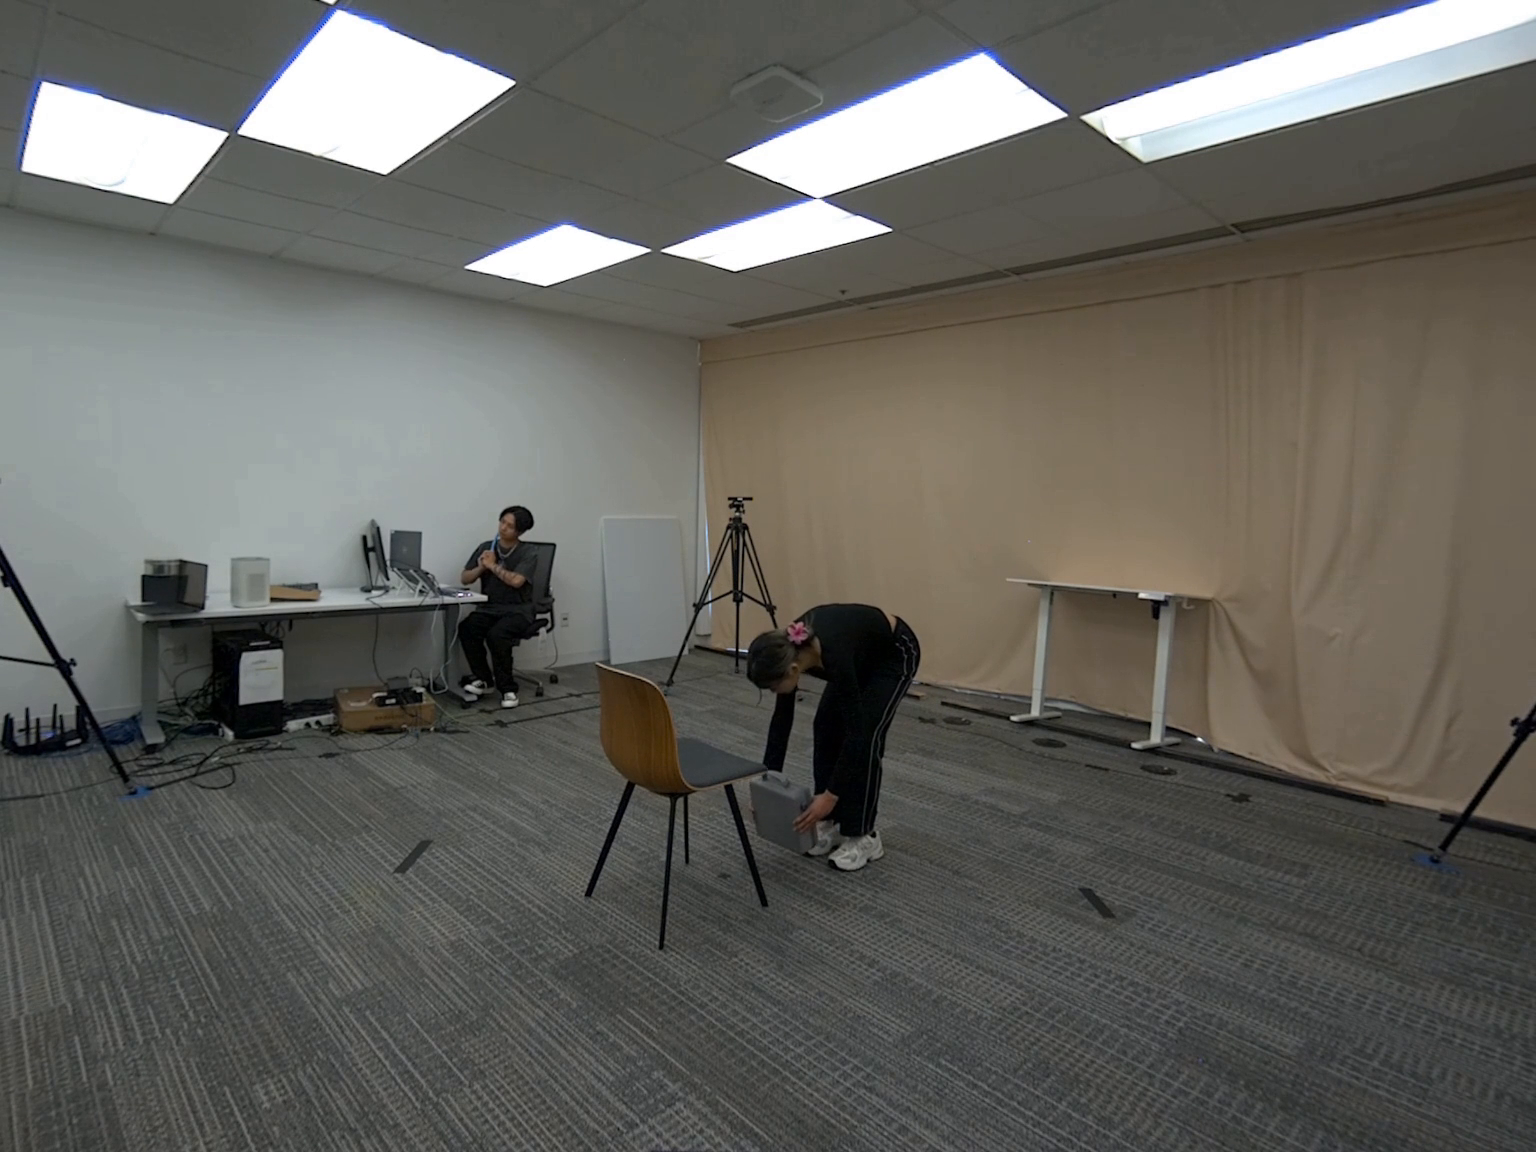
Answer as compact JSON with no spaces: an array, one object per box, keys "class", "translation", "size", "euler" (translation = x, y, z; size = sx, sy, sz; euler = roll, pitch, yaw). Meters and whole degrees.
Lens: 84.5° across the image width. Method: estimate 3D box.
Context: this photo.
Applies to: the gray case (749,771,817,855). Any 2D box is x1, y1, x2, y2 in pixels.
[{"class":"gray case","translation":[0.055,0.886,3.175],"size":[0.103,0.258,0.263],"euler":[-18,16,-39]}]
